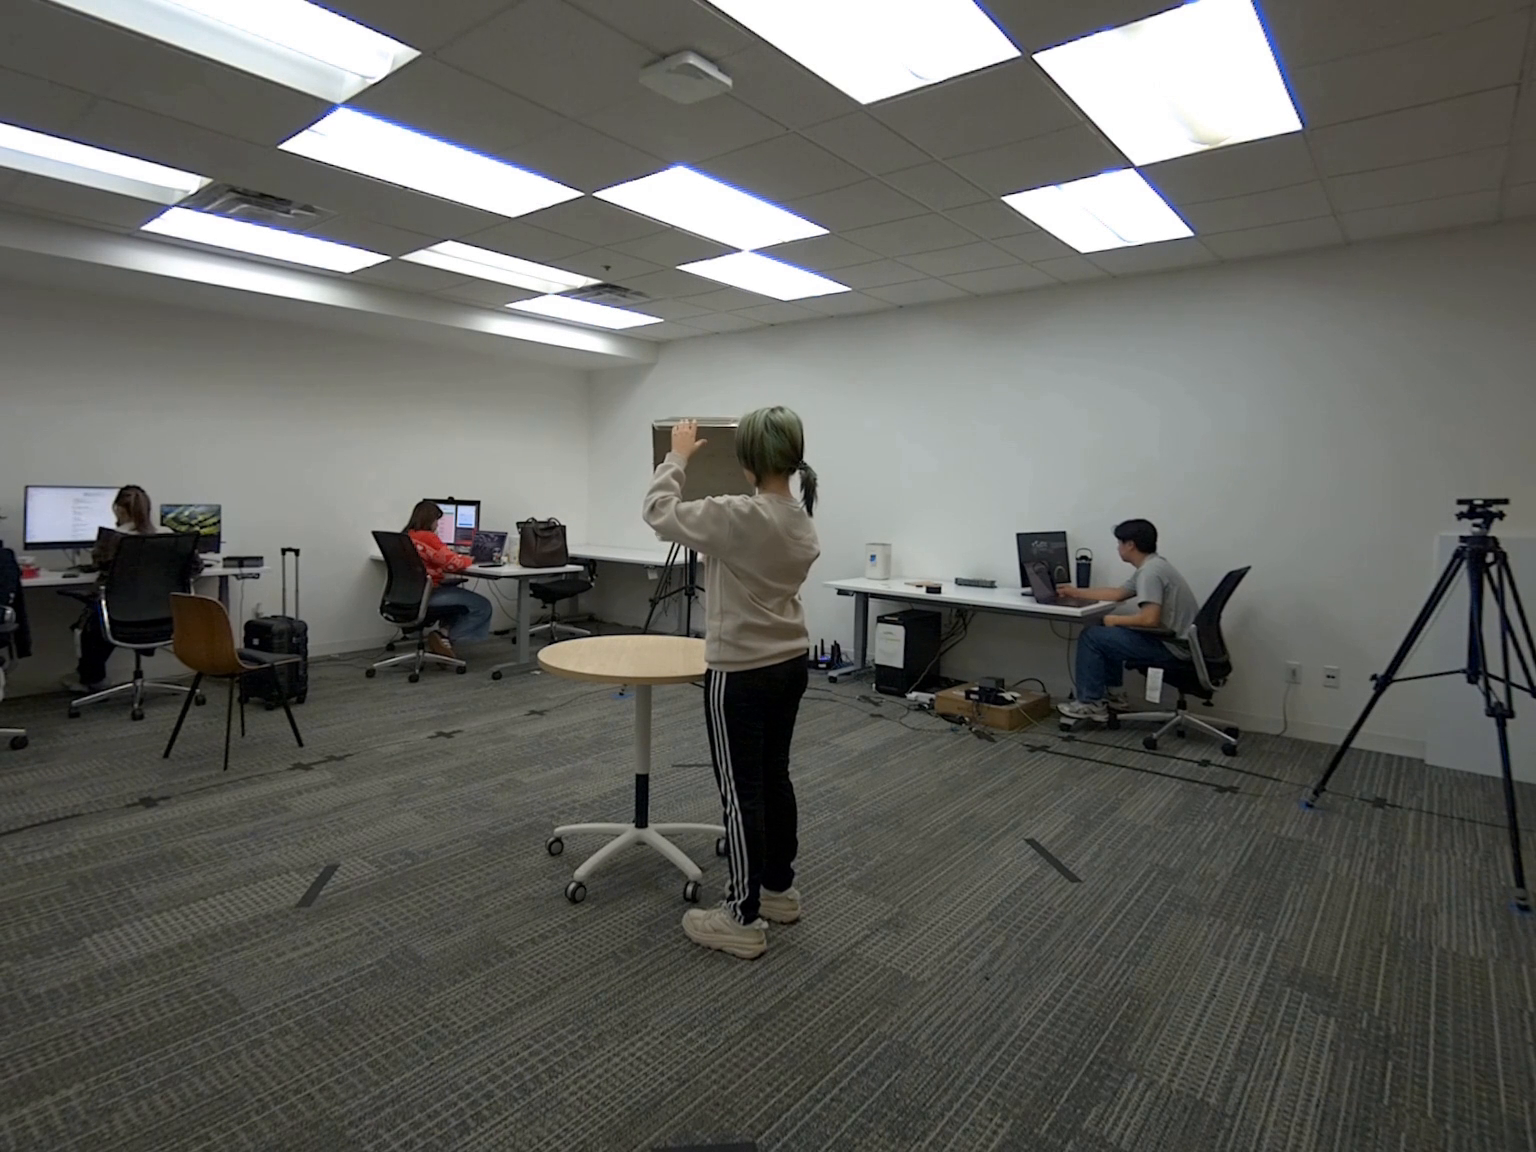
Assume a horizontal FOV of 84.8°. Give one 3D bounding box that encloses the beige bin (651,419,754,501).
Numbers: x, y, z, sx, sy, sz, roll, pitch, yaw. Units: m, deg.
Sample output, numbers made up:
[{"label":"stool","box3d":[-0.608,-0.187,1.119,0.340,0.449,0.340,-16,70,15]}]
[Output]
[{"label":"beige bin","box3d":[-0.238,-0.342,3.010,0.379,0.415,0.191,1,17,5]}]
